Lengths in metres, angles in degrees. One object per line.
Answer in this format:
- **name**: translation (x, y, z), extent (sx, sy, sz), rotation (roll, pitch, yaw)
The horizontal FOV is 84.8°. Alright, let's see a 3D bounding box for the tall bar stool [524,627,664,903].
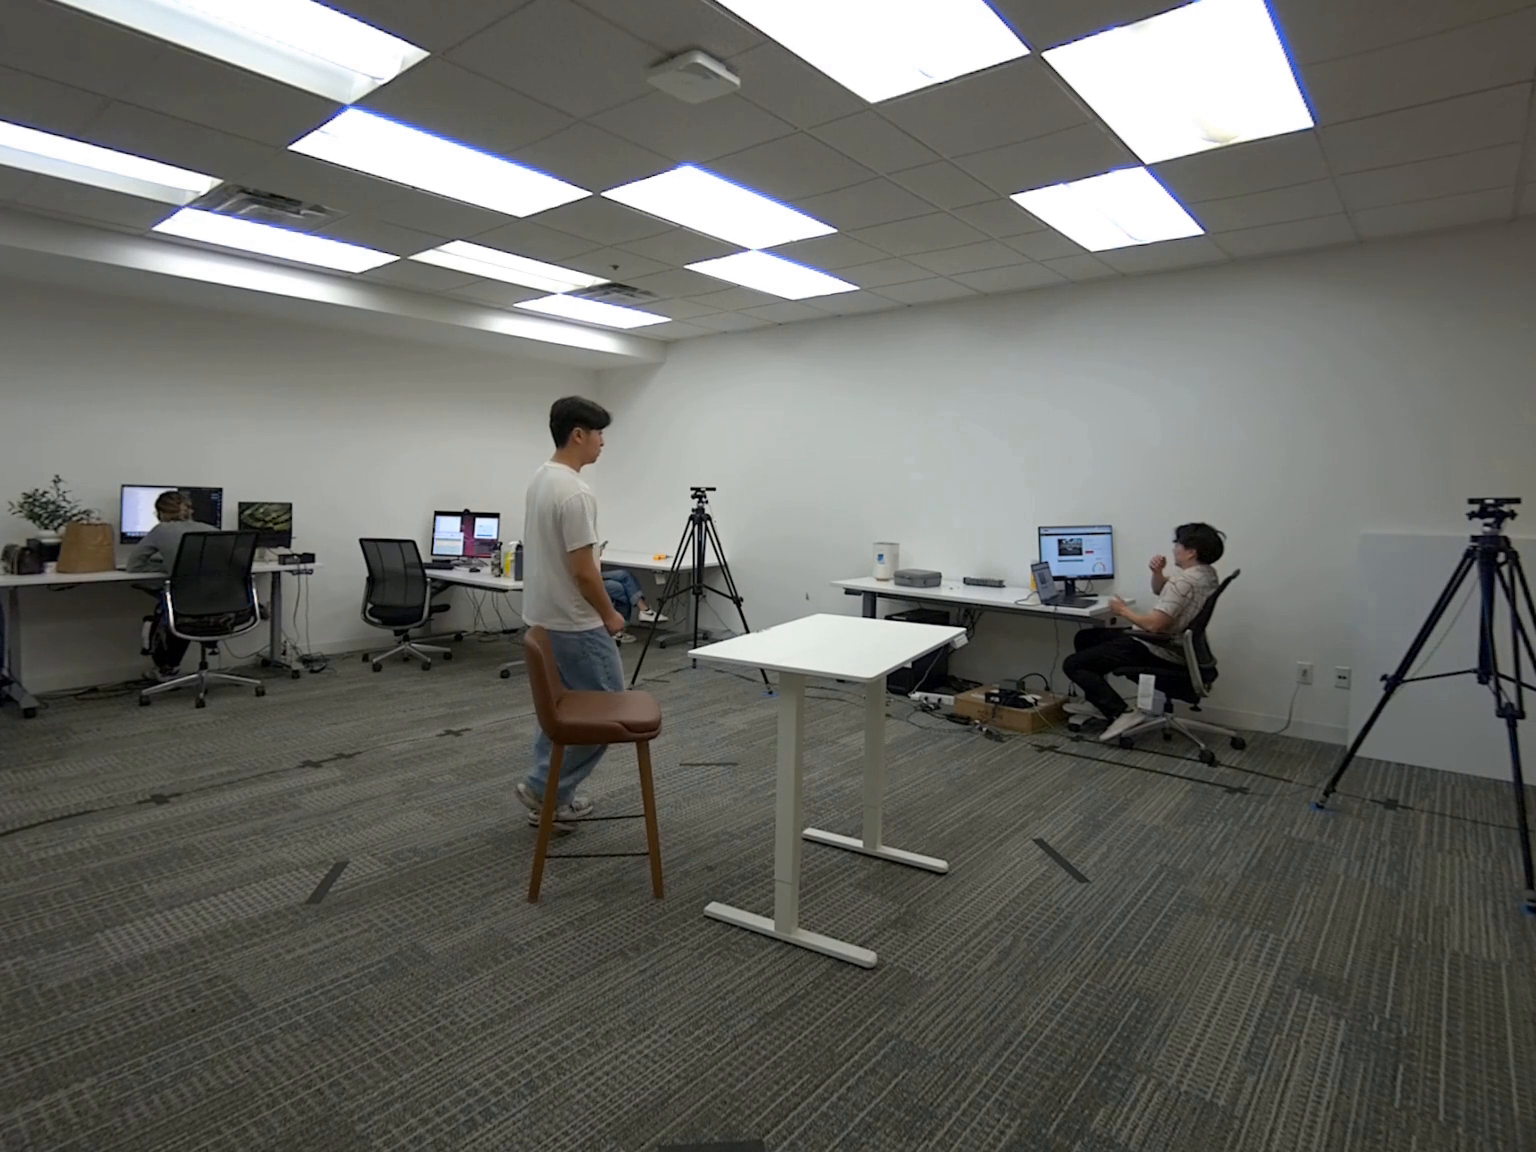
- **tall bar stool**: translation (-0.618, 0.634, 3.023), extent (0.463, 0.888, 0.462), rotation (-1, 3, -10)
